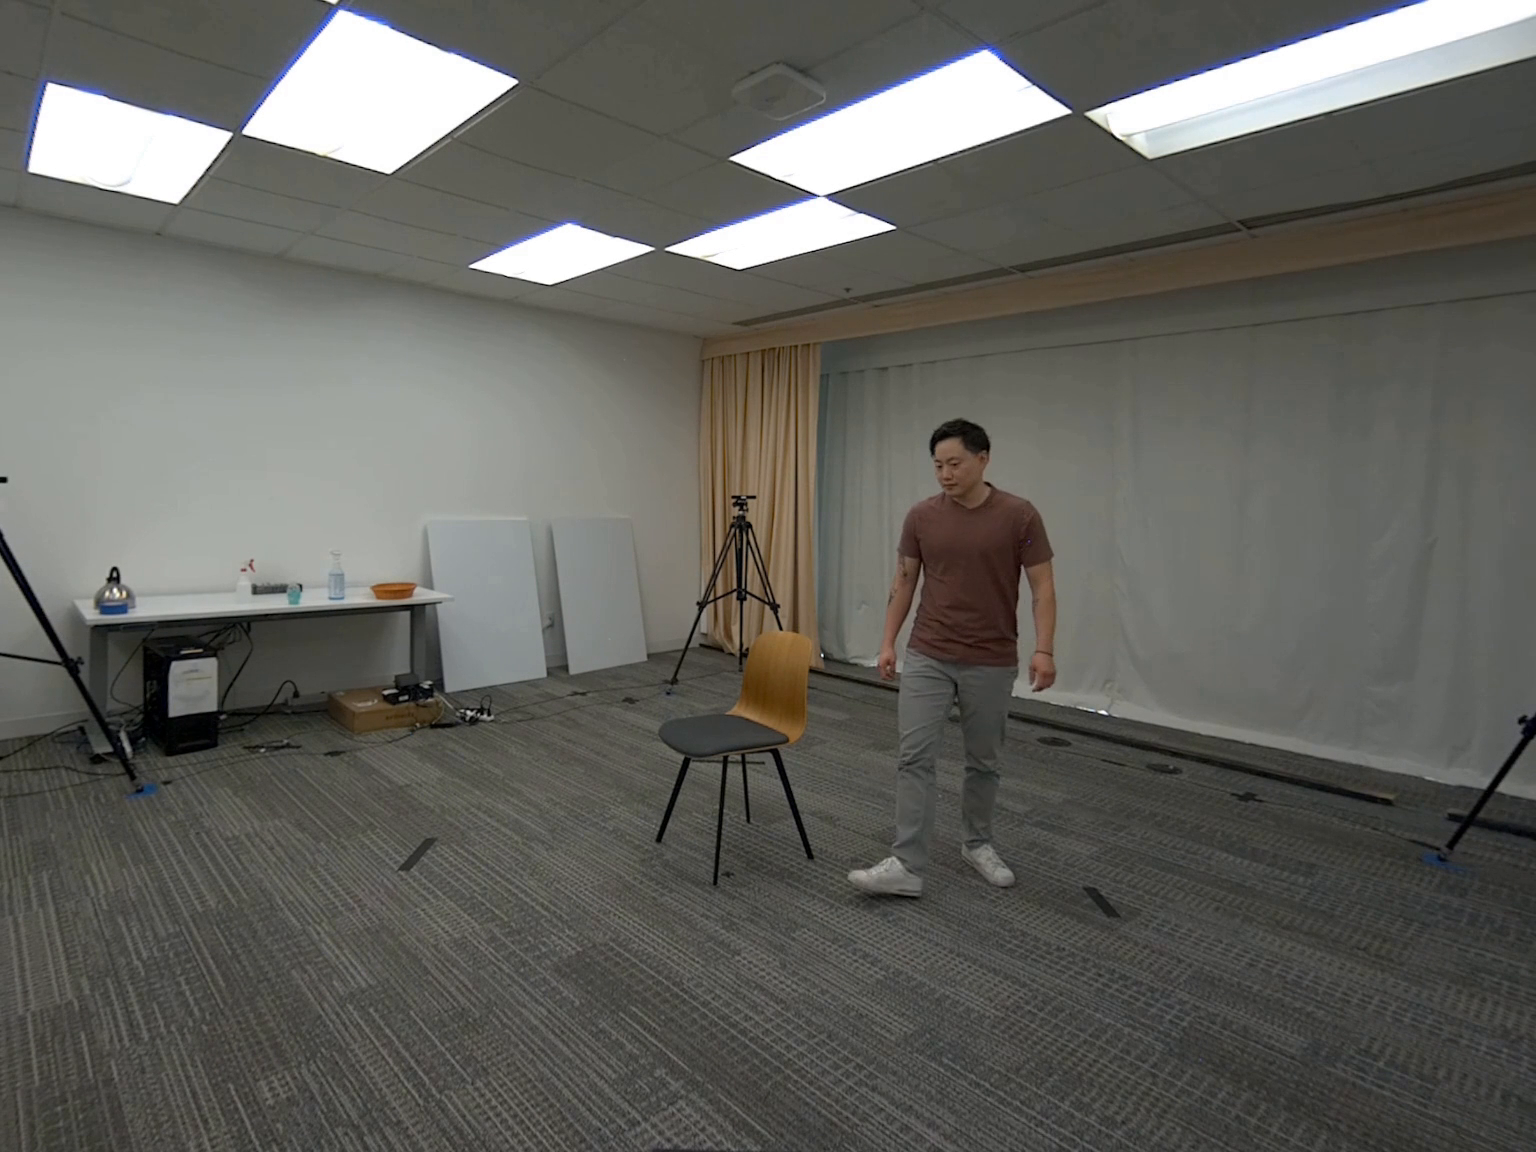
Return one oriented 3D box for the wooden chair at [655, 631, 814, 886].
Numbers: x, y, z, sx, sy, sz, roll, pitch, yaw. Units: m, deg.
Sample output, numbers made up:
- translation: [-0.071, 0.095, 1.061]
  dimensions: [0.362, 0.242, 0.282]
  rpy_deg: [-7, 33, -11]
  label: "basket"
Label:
- translation: [-0.140, 0.658, 3.284]
  dimensions: [0.511, 0.877, 0.490]
  rpy_deg: [4, 1, -35]
  label: "wooden chair"
